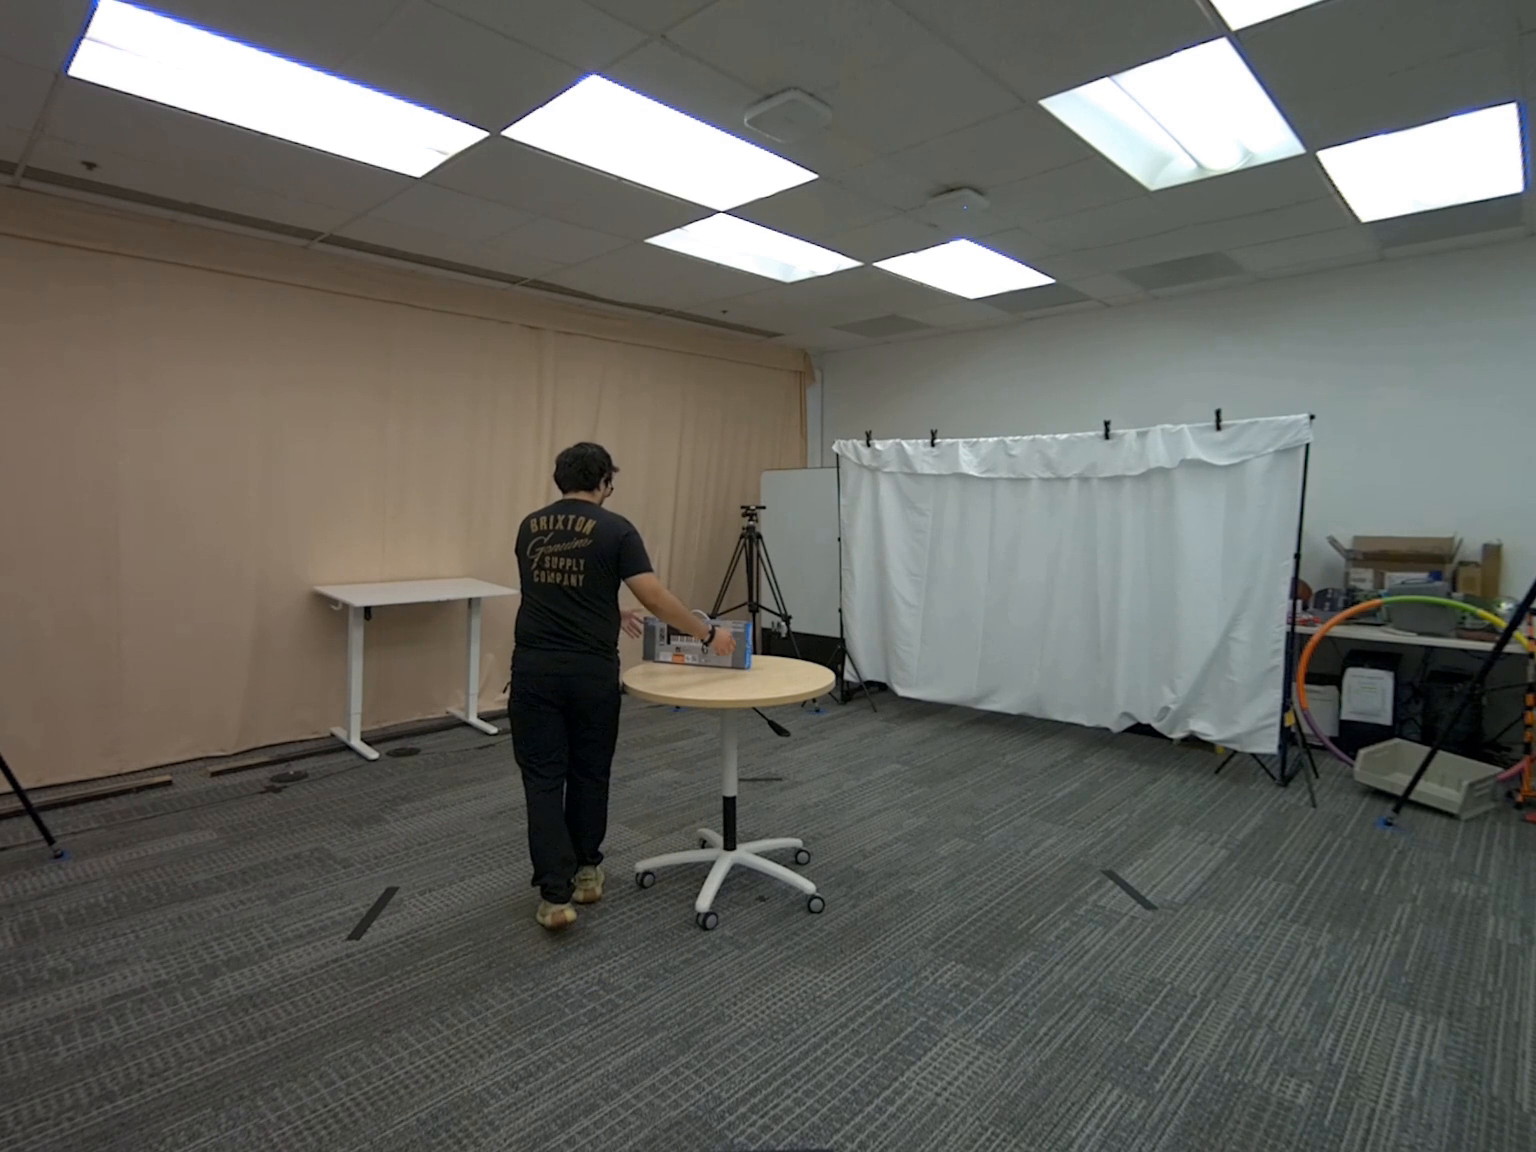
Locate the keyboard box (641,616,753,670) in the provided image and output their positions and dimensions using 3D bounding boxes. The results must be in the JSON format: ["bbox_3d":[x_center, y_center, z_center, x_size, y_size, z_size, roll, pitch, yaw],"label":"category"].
[{"bbox_3d":[-0.275,0.254,3.226,0.447,0.176,0.057,2,-1,24],"label":"keyboard box"}]
